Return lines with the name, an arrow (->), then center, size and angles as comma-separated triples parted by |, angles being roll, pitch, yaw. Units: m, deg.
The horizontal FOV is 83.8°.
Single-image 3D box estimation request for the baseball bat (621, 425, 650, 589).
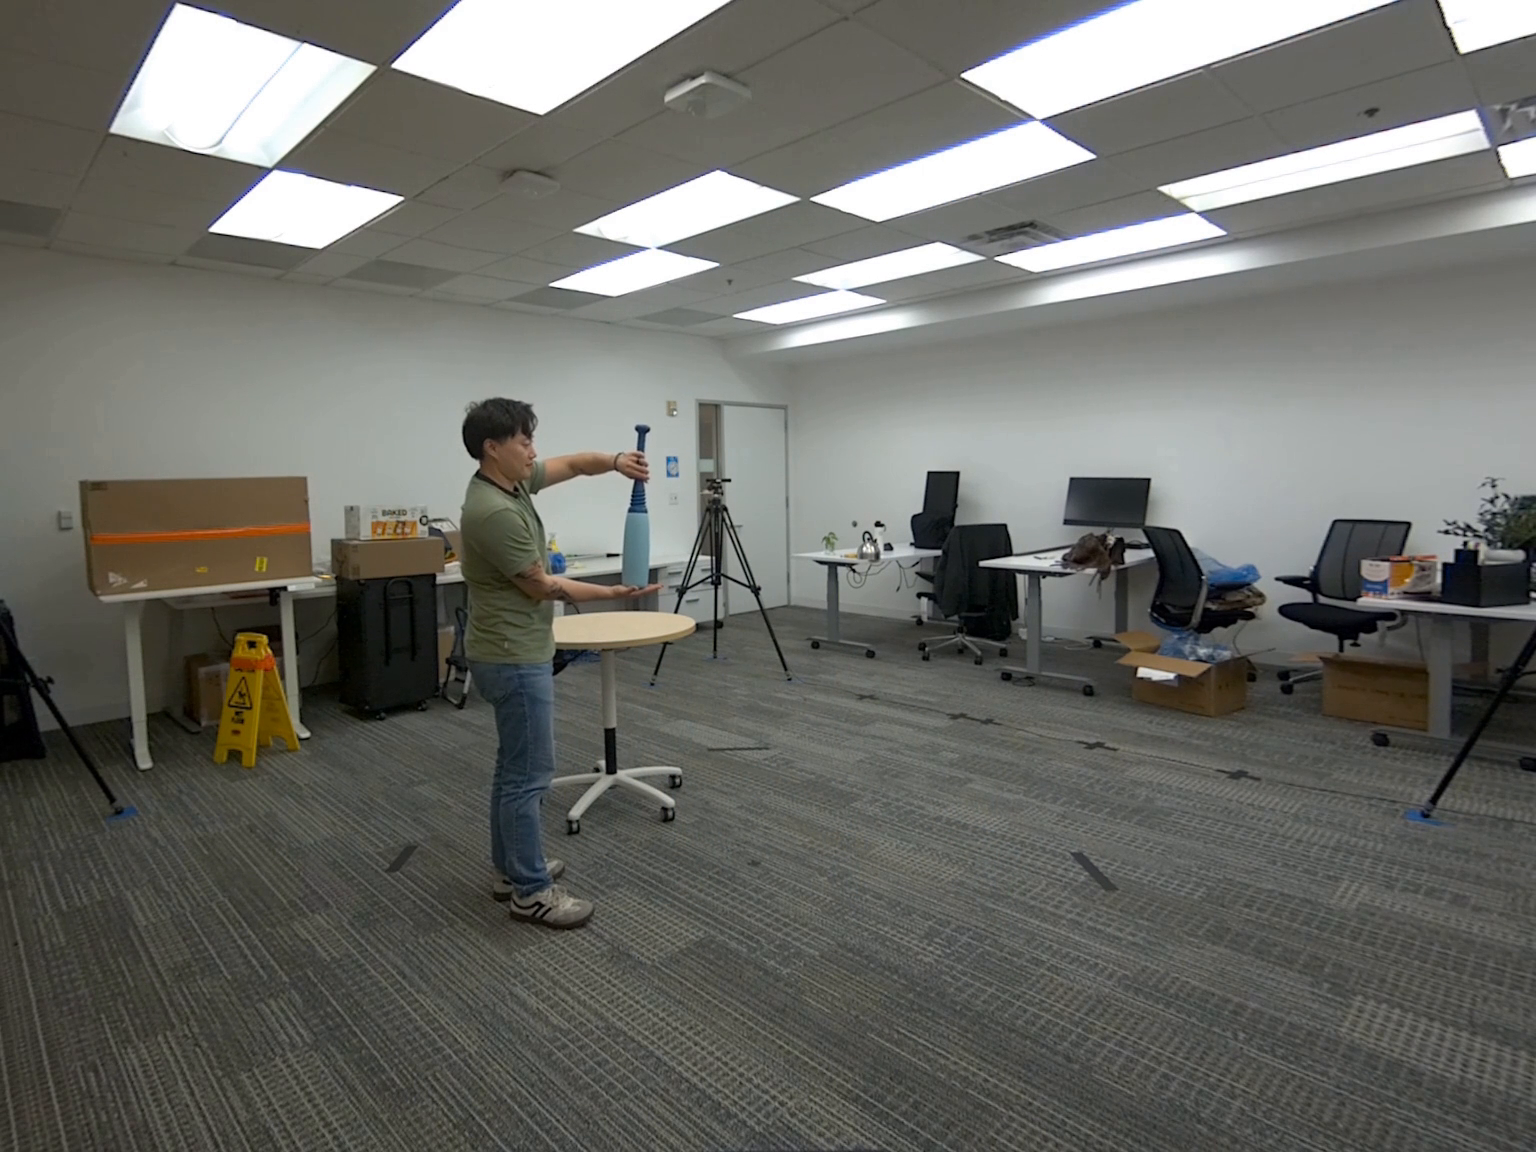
baseball bat -> -0.439, -0.225, 2.824 | 0.089, 0.542, 0.089 | 2, 1, -2
